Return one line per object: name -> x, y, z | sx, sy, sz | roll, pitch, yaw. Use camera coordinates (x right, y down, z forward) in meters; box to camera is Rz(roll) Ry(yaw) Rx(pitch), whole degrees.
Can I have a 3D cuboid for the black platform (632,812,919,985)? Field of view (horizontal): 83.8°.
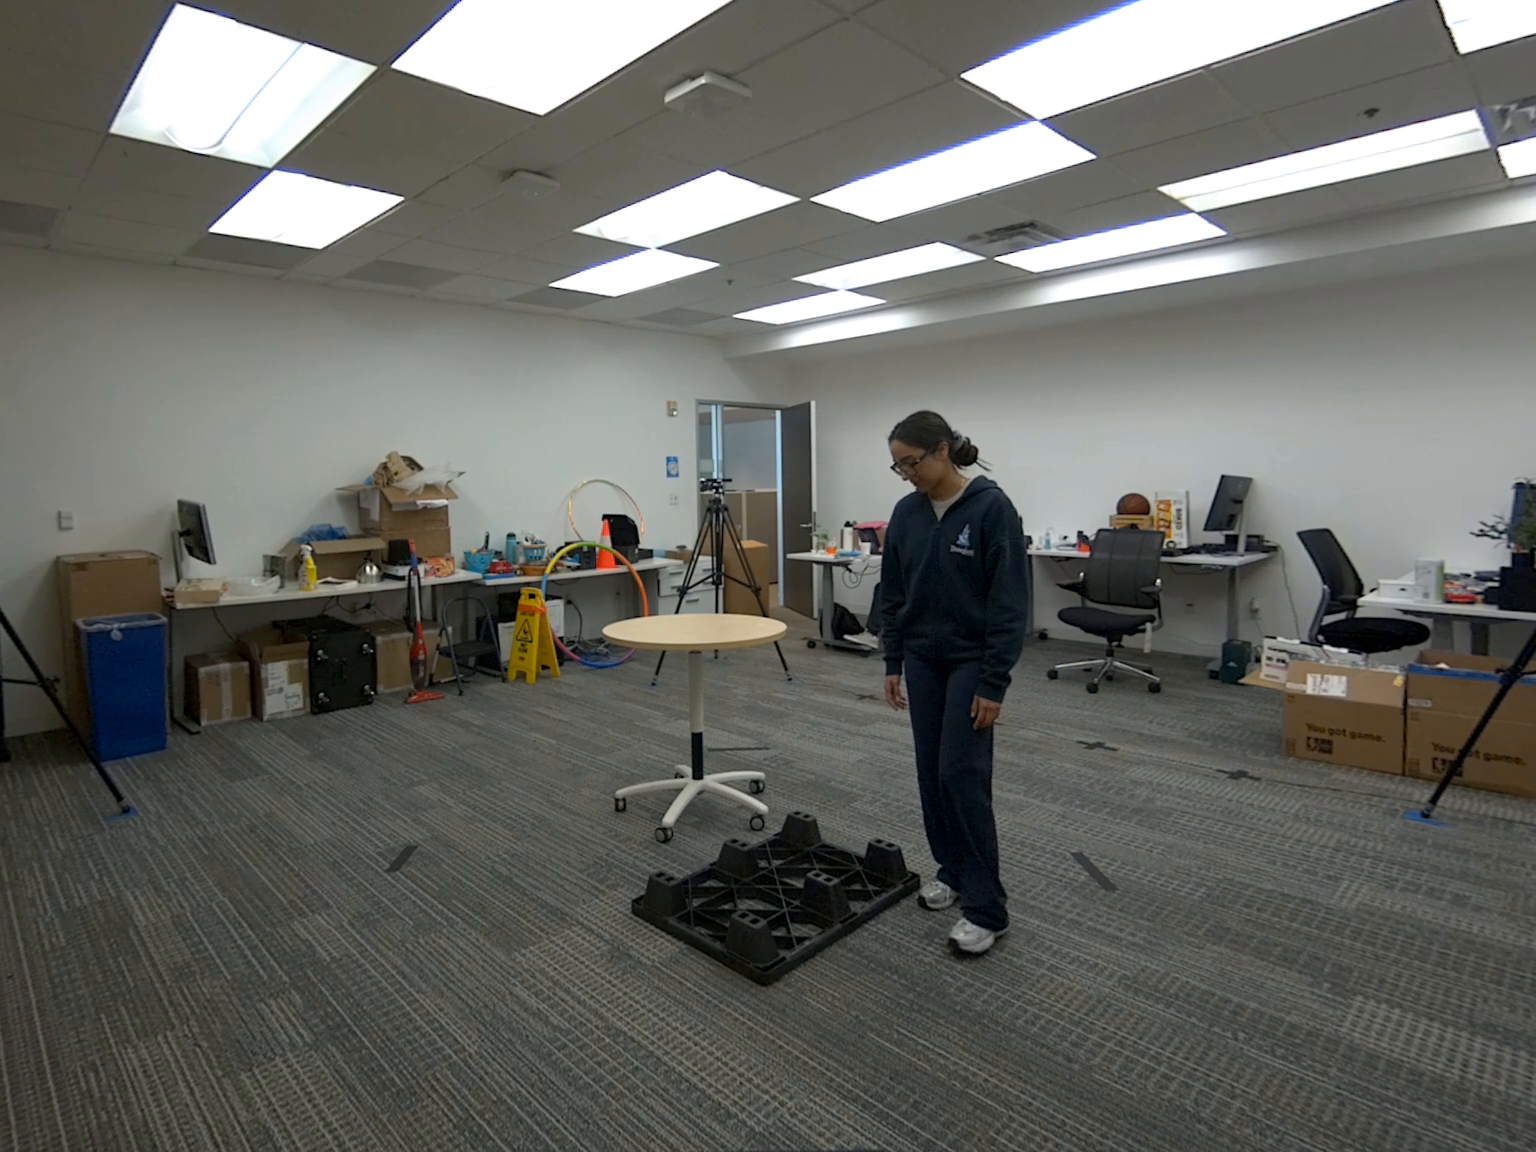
black platform -> 0.039, 1.009, 2.839 | 0.624, 0.142, 0.785 | 5, 9, 43
